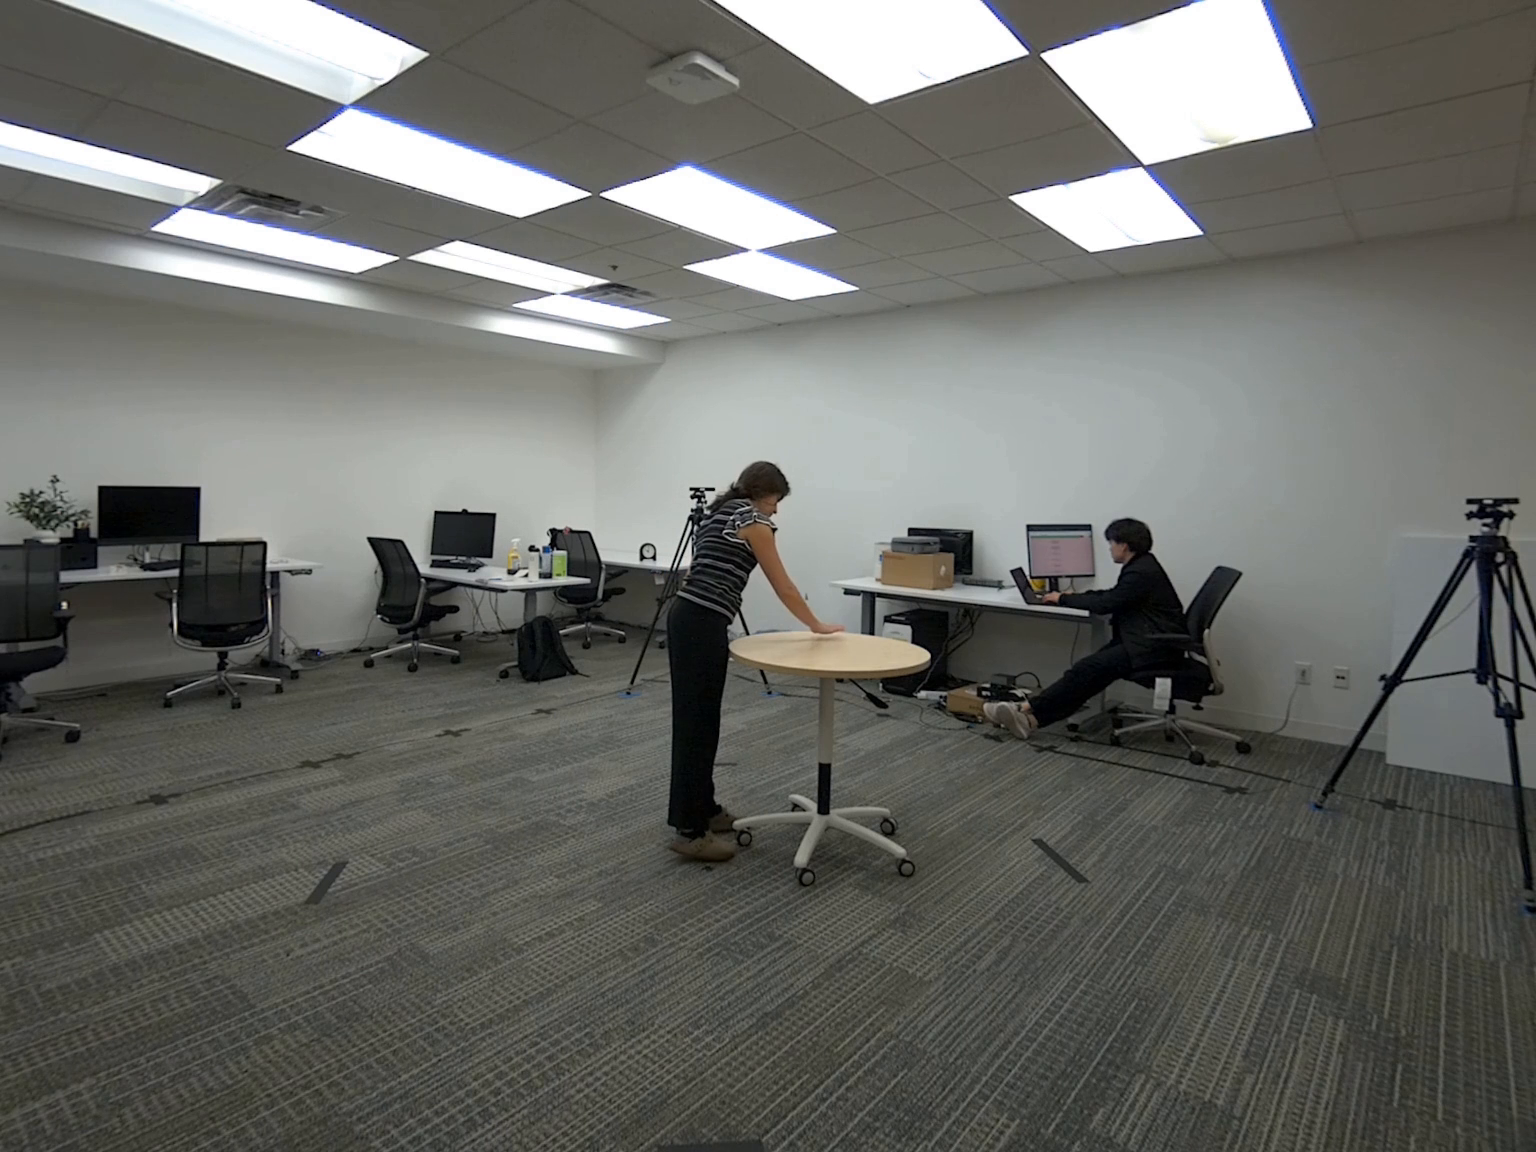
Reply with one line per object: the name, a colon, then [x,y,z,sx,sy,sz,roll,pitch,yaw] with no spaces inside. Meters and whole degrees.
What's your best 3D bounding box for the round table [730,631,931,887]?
round table: [0.227,0.673,3.290,0.763,0.791,0.768,1,5,-2]
